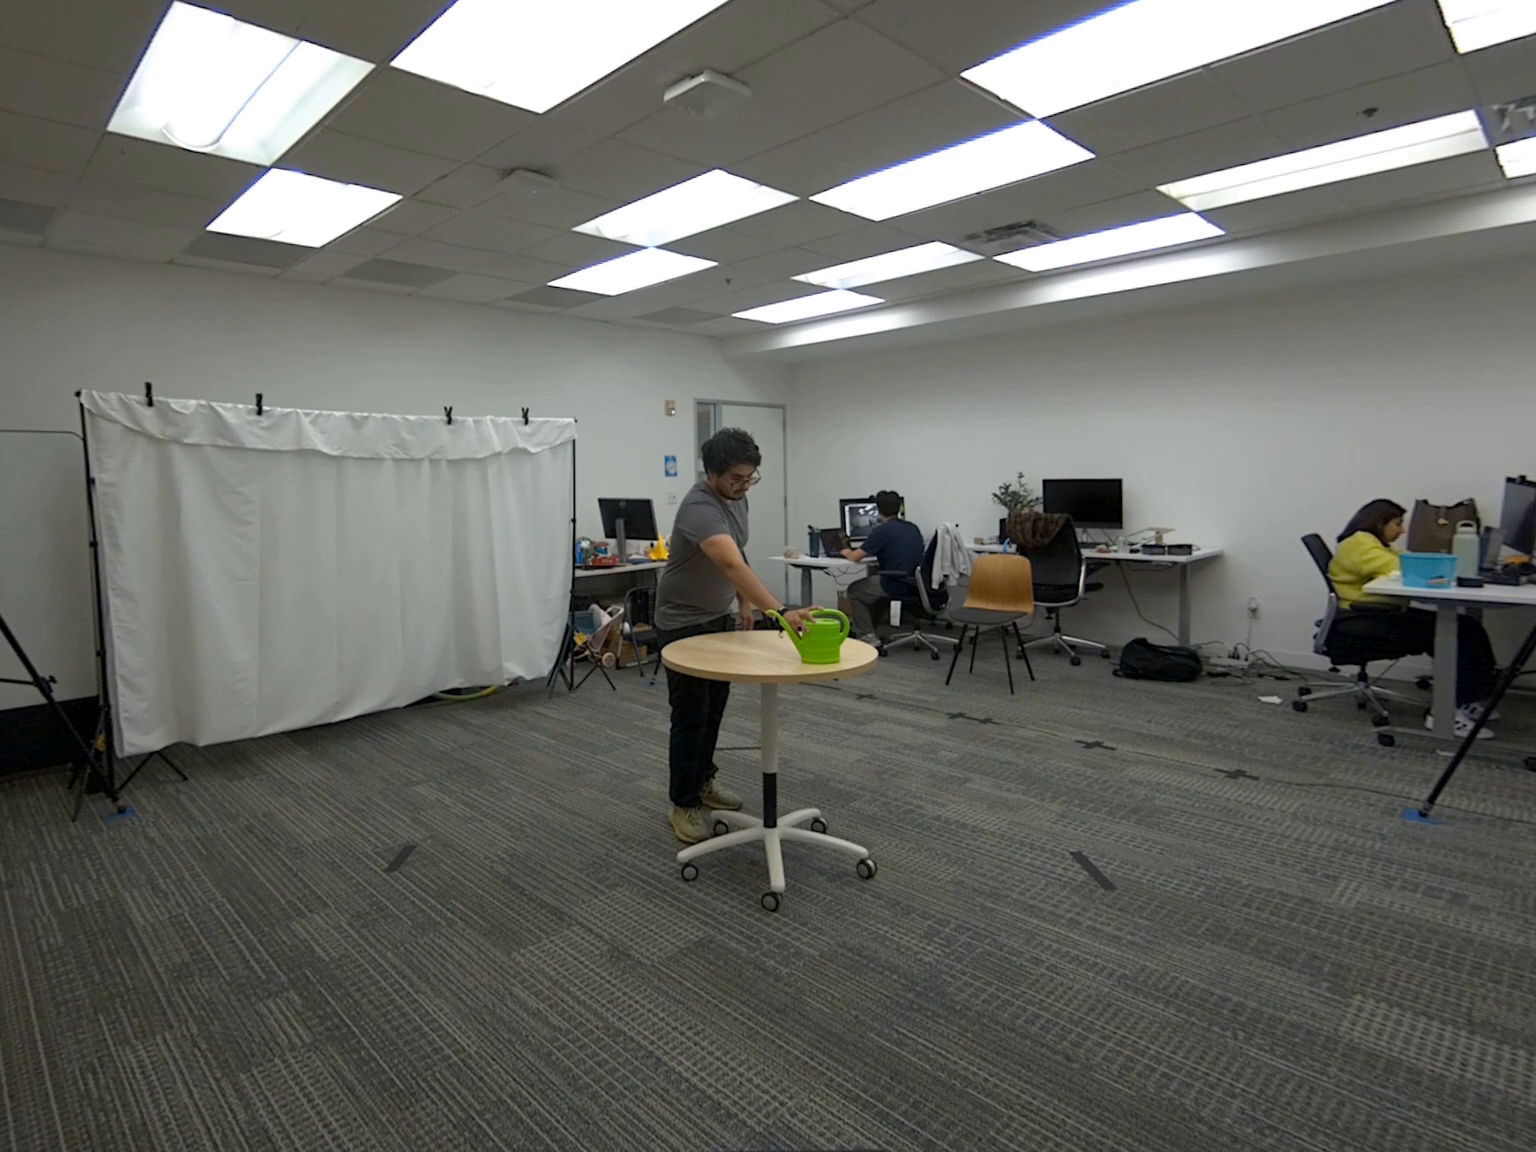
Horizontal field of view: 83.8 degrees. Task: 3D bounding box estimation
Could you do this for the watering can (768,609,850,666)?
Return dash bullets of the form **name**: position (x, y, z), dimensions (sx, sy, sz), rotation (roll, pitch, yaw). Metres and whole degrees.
- **watering can**: position (0.140, 0.201, 2.857), dimensions (0.280, 0.176, 0.098), rotation (3, 6, 5)
